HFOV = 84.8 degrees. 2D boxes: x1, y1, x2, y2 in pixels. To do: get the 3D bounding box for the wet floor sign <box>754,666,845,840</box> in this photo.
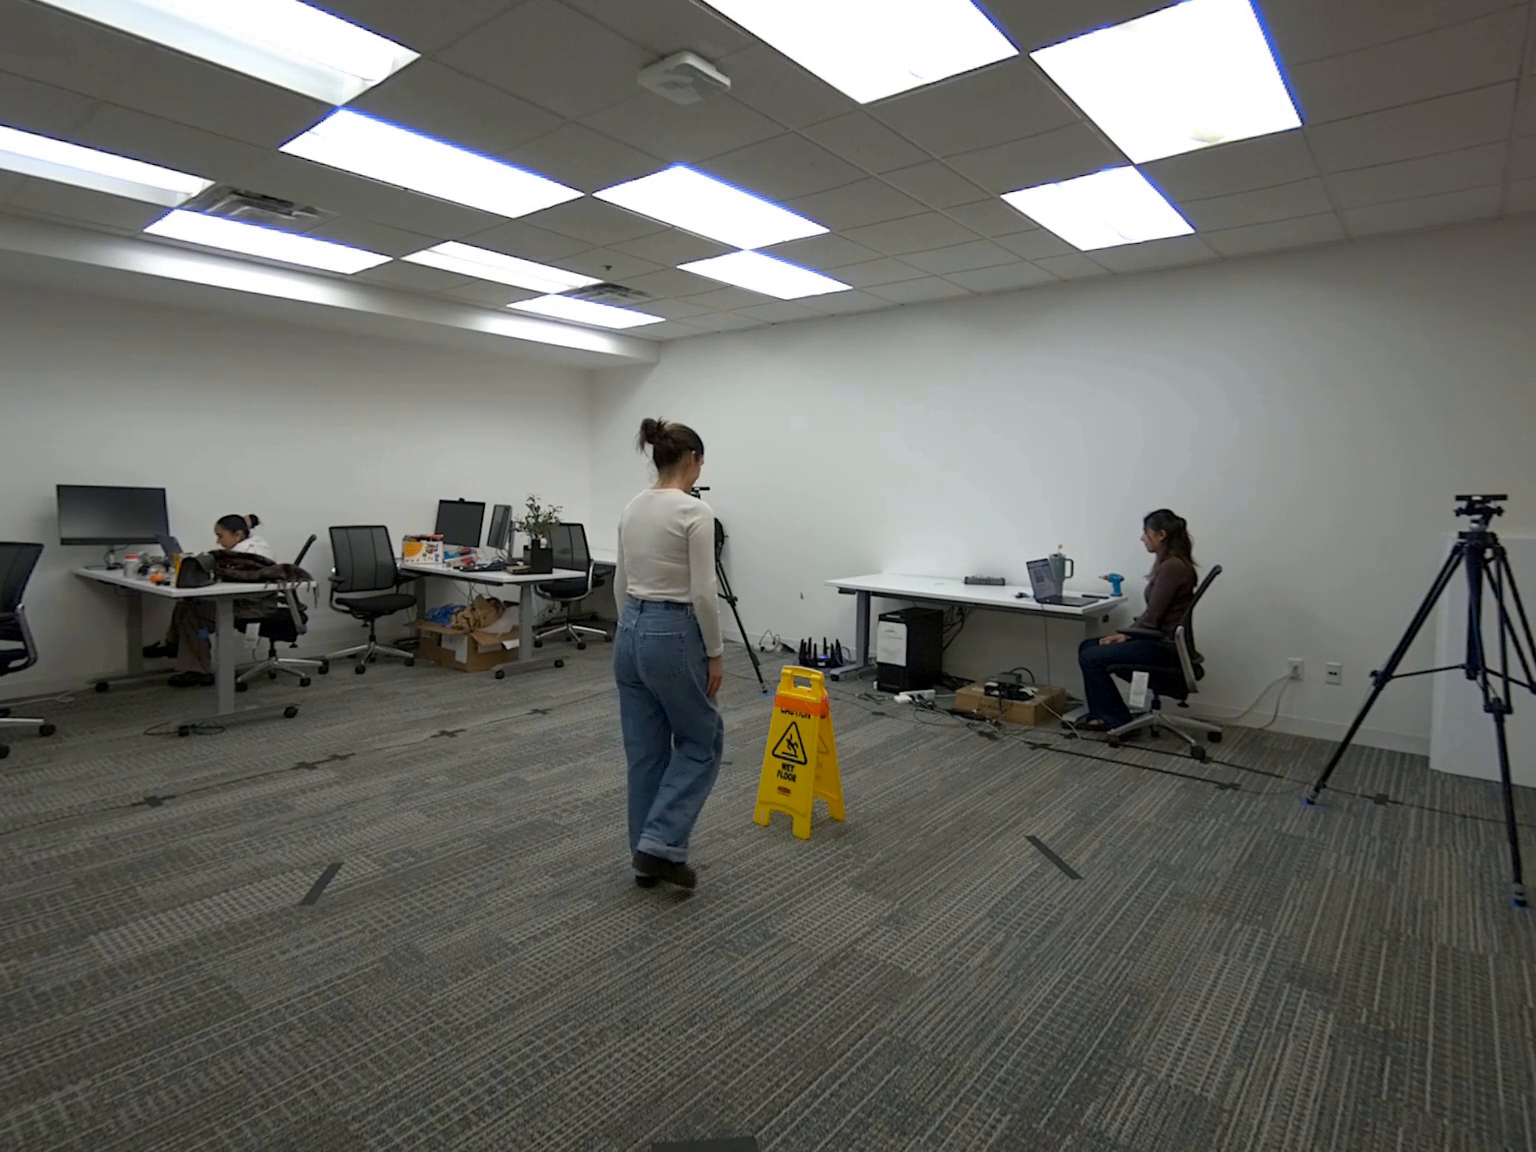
[{"bbox_3d":[0.132,0.702,3.556,0.292,0.644,0.281,4,4,38],"label":"wet floor sign"}]
